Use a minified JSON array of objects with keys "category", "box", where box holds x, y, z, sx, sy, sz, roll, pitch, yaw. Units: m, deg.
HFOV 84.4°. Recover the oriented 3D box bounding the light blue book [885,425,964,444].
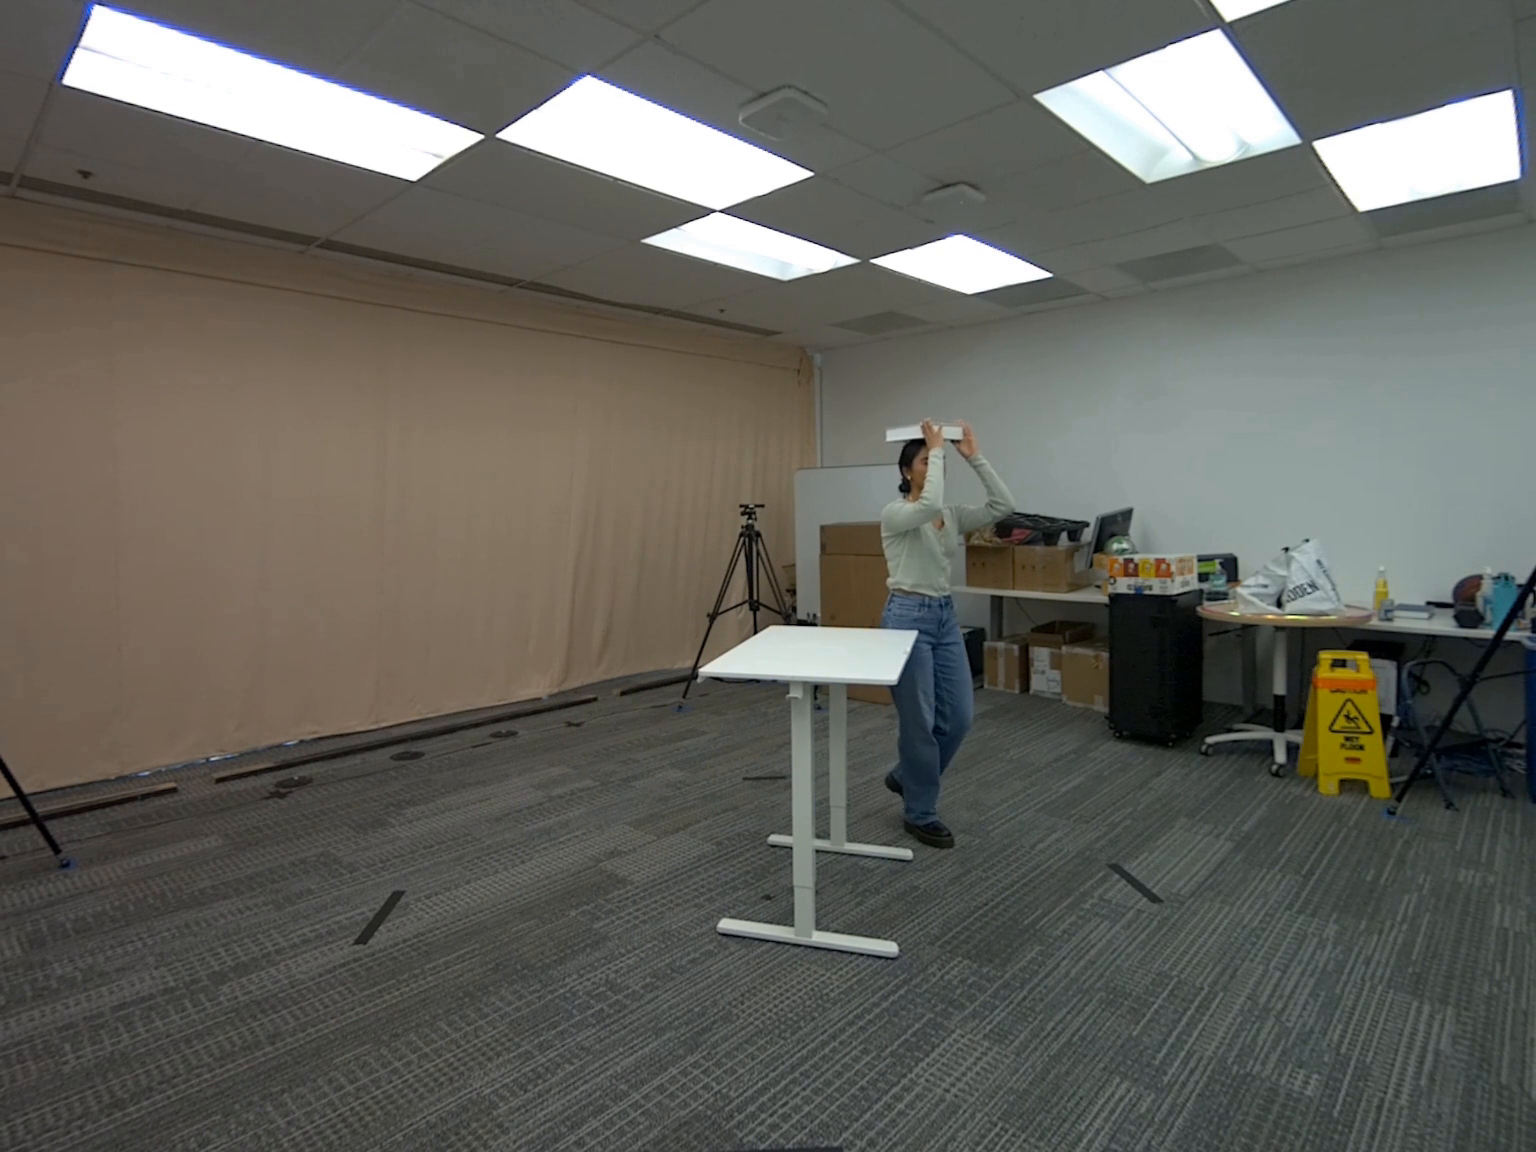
[{"category":"light blue book","box":[0.655,-0.588,3.486,0.186,0.059,0.269,-1,3,-34]}]
